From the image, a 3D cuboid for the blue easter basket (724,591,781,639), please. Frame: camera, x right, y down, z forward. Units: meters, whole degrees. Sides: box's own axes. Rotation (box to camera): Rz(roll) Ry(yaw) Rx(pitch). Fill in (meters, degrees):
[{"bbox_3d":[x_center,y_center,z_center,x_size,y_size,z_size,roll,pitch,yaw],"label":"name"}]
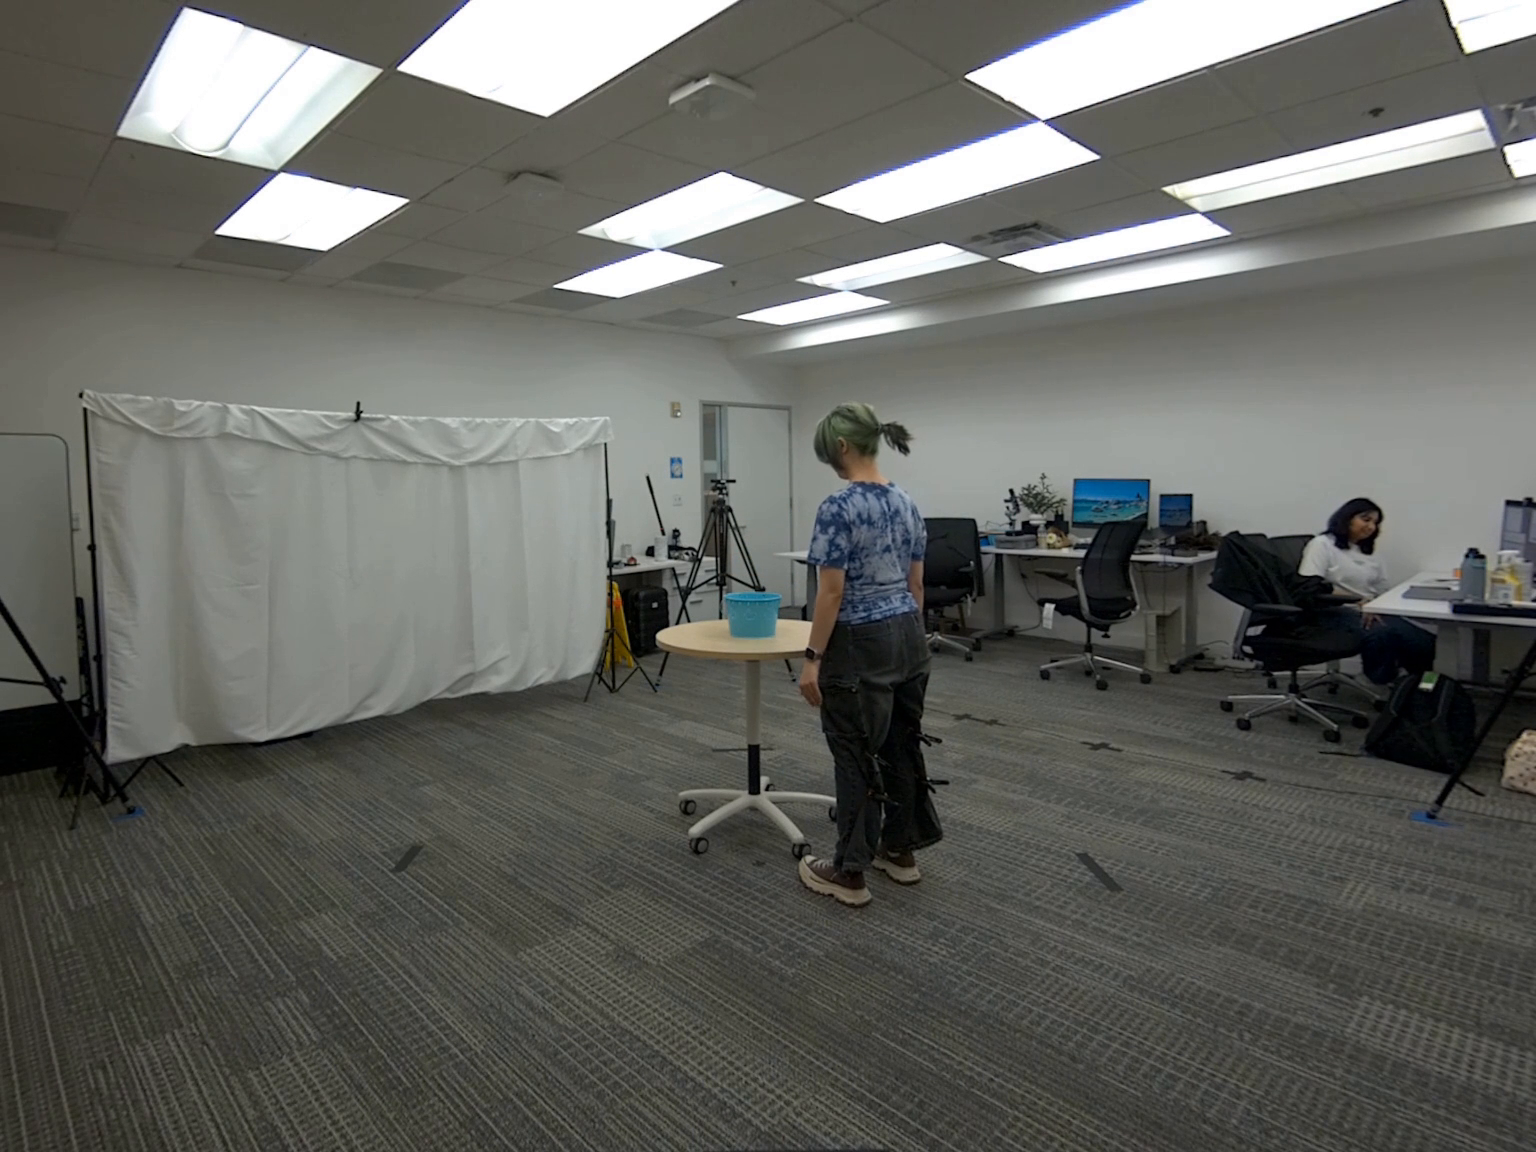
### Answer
[{"bbox_3d":[-0.056,0.158,3.393,0.243,0.155,0.245,-1,6,-2],"label":"blue easter basket"}]
